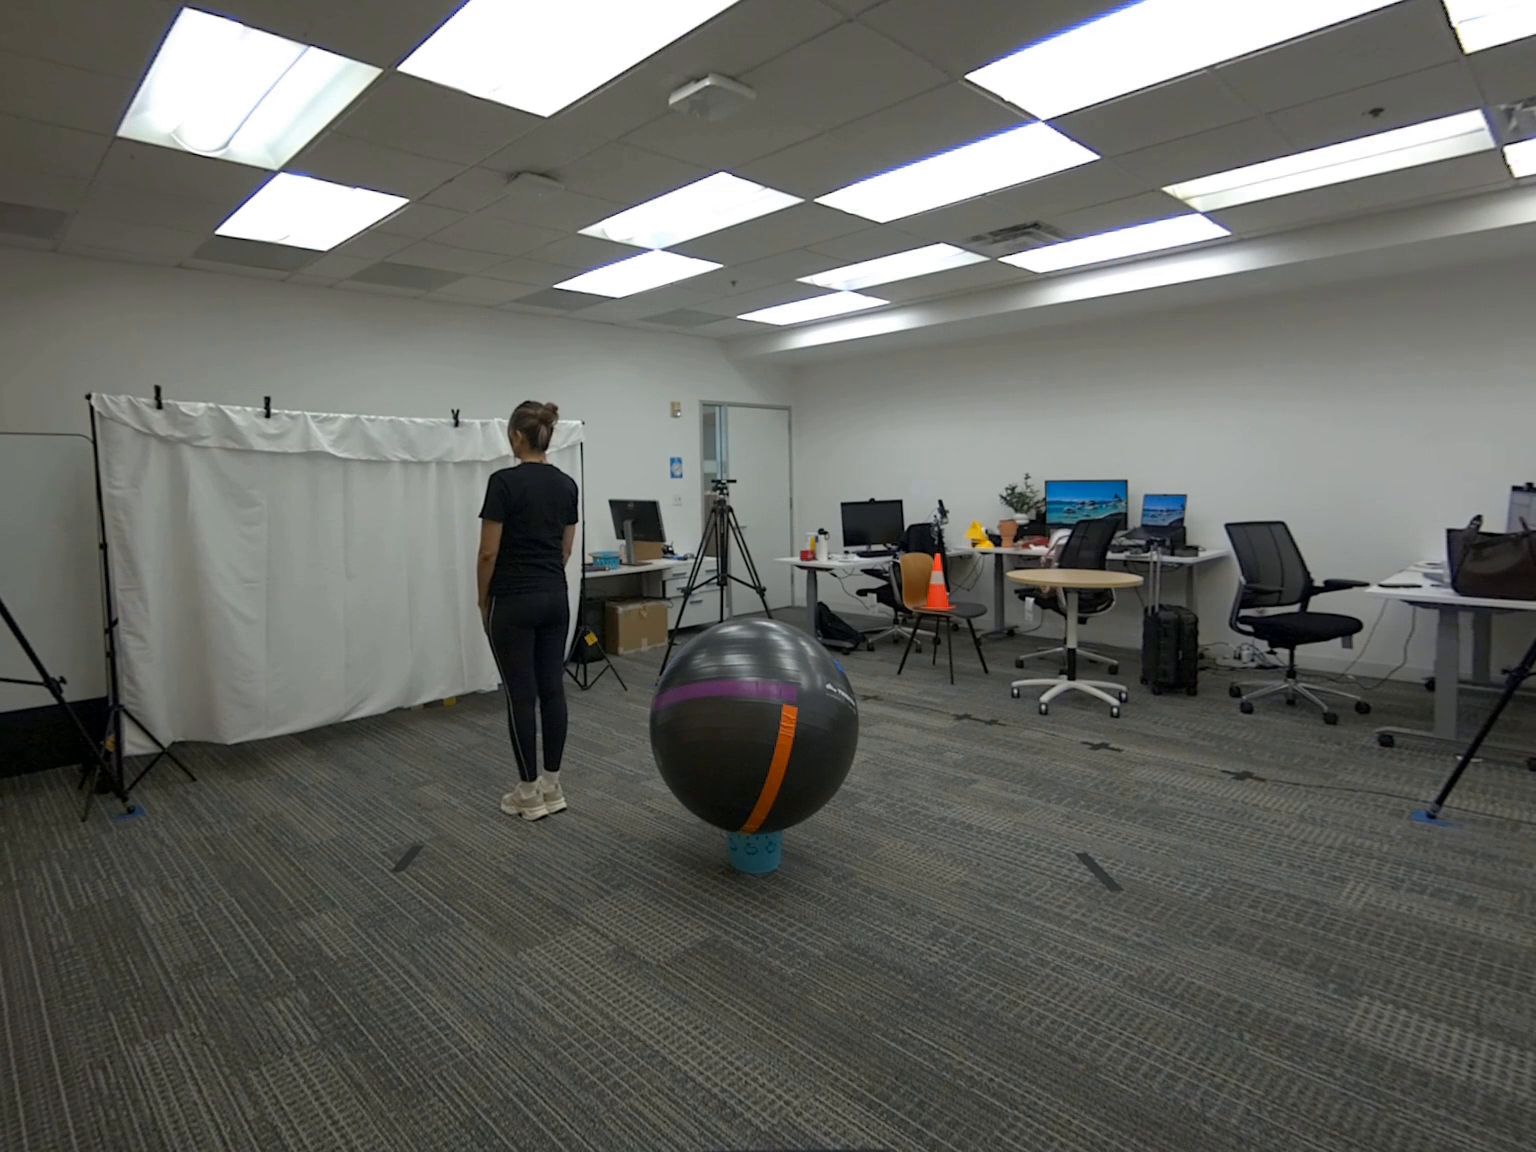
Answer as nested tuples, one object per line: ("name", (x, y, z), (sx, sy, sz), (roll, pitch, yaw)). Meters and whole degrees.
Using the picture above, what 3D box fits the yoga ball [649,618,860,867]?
("yoga ball", (-0.051, 0.539, 3.104), (0.757, 0.755, 0.762), (-1, 5, -2))
